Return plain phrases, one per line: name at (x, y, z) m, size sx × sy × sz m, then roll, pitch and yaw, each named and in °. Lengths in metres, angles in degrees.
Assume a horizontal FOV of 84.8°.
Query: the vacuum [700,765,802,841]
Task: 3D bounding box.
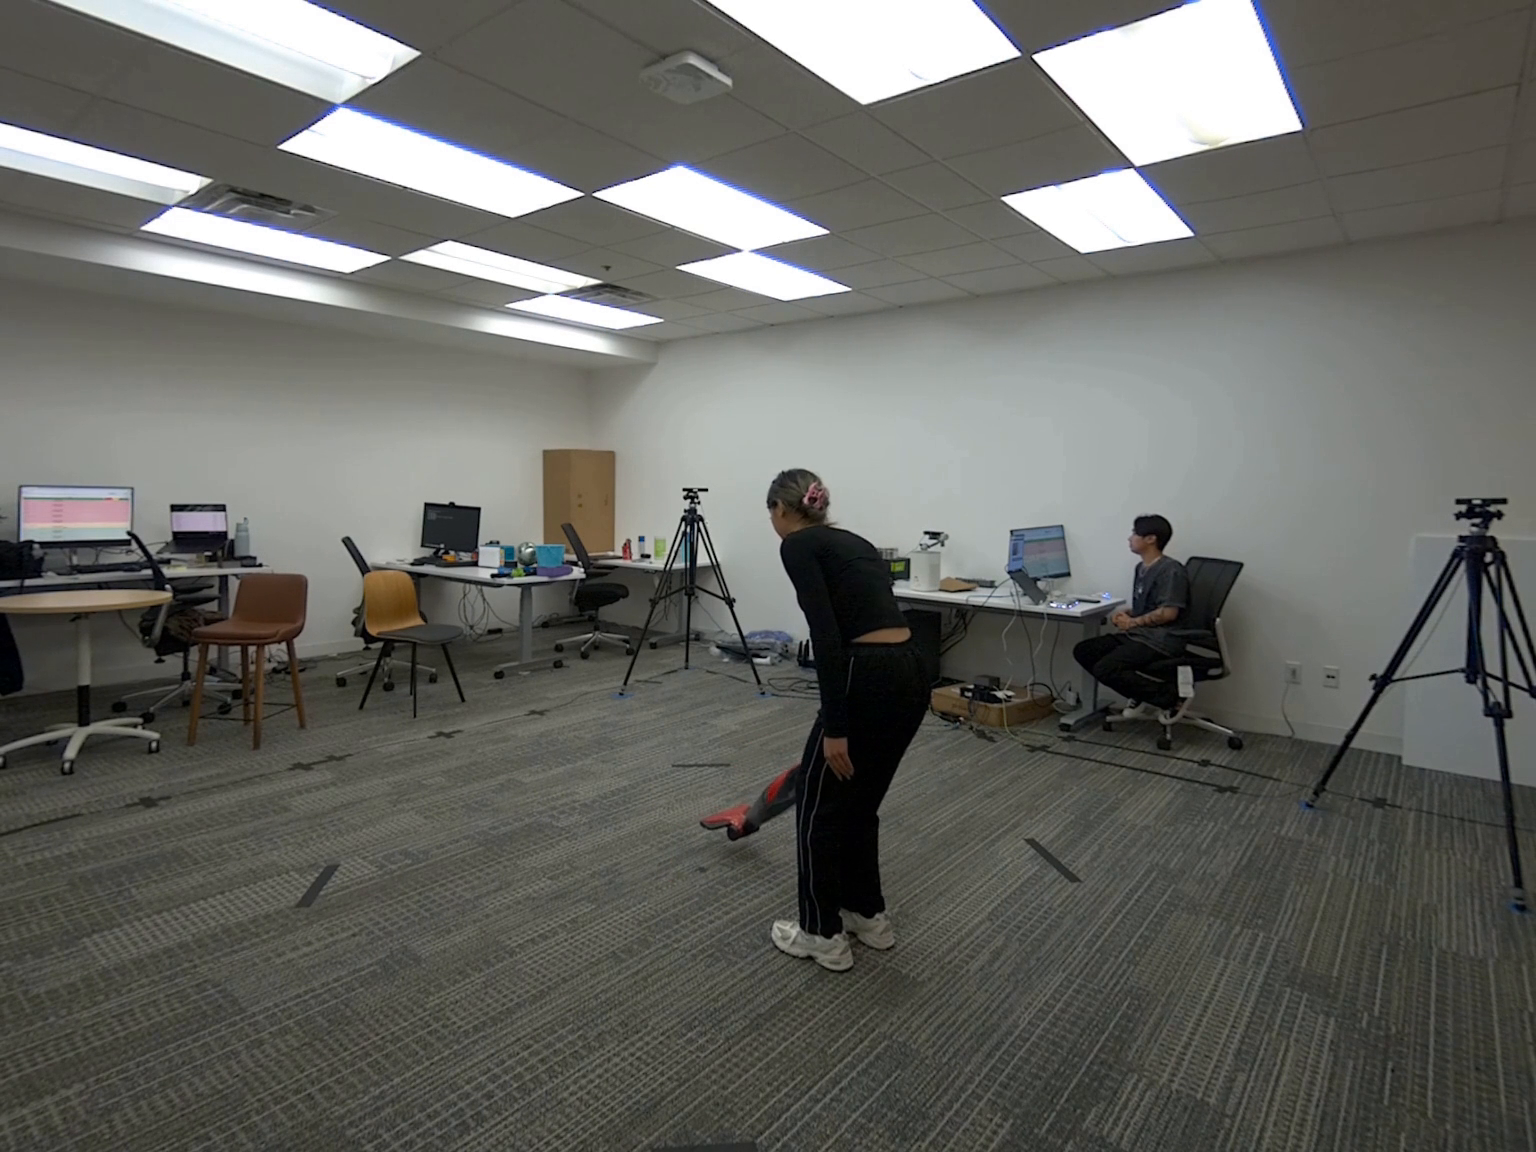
vacuum at (0.160, 0.689, 2.981) m, size 0.245 × 0.148 × 1.053 m, roll -4°, pitch -28°, yaw -46°
